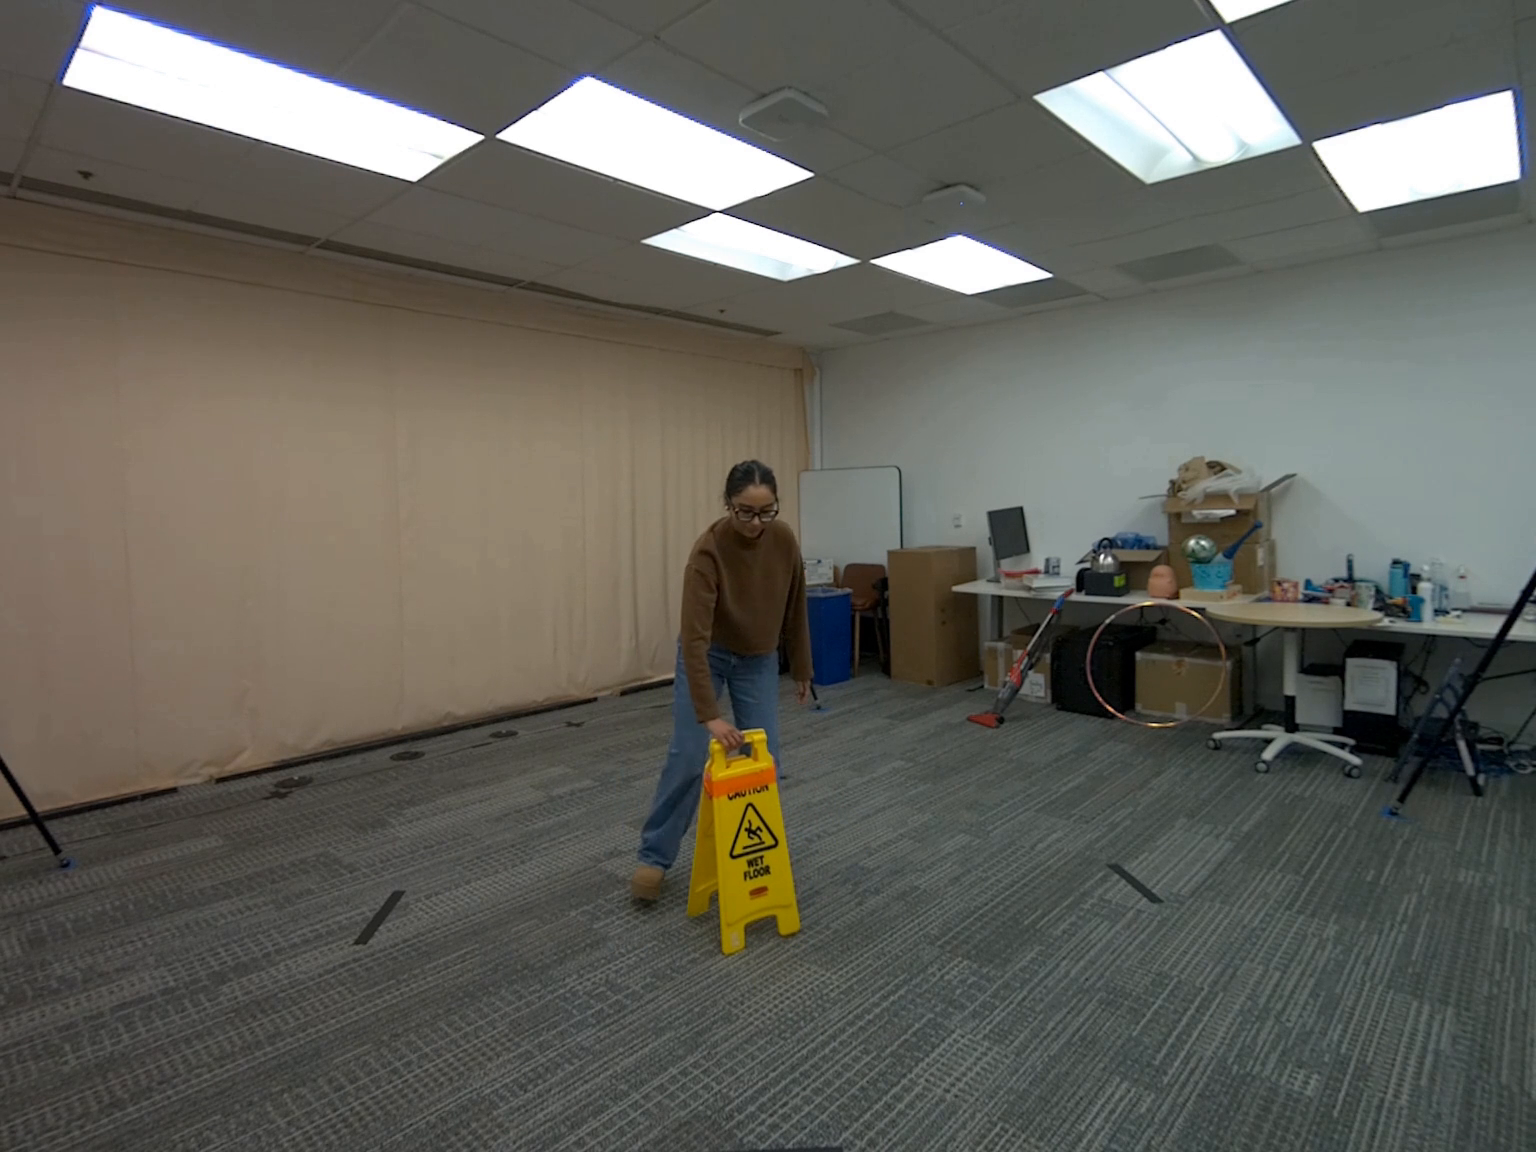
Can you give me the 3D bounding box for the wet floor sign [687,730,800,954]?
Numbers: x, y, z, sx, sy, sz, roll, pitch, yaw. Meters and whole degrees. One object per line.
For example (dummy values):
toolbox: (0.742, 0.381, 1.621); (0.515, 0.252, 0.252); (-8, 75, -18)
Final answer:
wet floor sign: (-0.090, 0.823, 2.738); (0.275, 0.643, 0.299); (-5, 9, -30)
